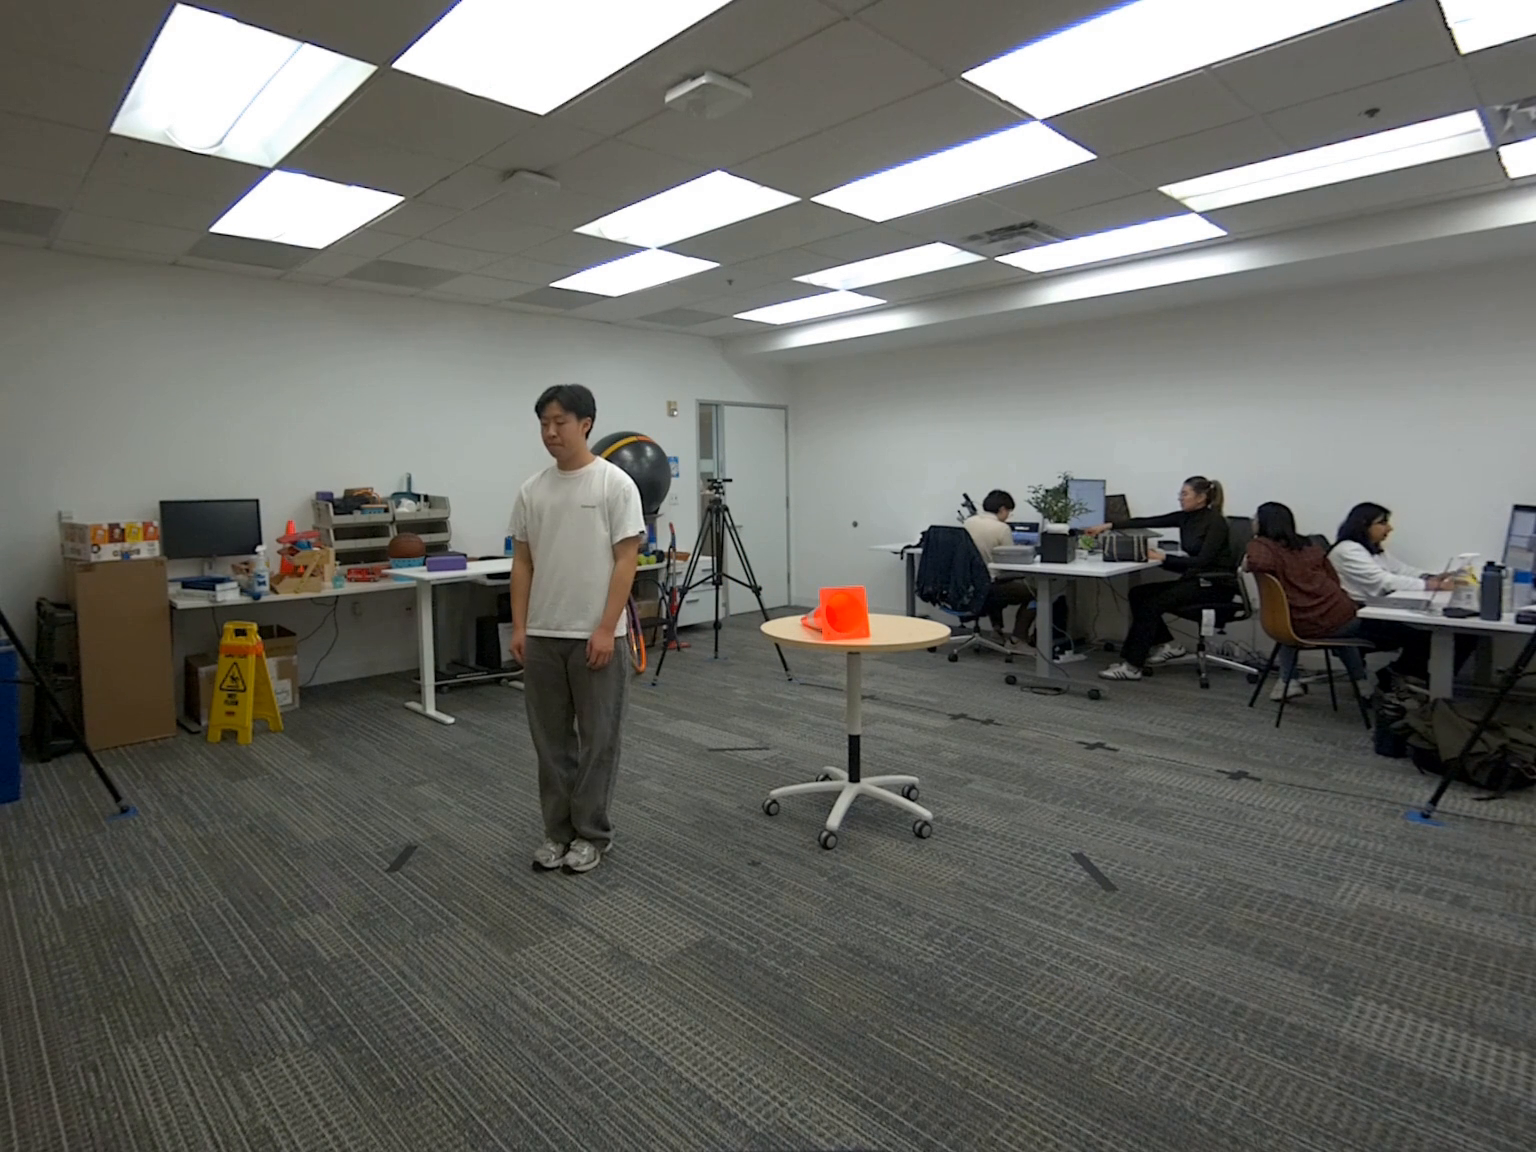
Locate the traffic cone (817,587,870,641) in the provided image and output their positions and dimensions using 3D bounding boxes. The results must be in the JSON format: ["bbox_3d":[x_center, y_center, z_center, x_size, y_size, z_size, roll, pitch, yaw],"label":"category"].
[{"bbox_3d":[0.220,0.165,3.421,0.199,0.206,0.388,-3,-7,-22],"label":"traffic cone"}]
